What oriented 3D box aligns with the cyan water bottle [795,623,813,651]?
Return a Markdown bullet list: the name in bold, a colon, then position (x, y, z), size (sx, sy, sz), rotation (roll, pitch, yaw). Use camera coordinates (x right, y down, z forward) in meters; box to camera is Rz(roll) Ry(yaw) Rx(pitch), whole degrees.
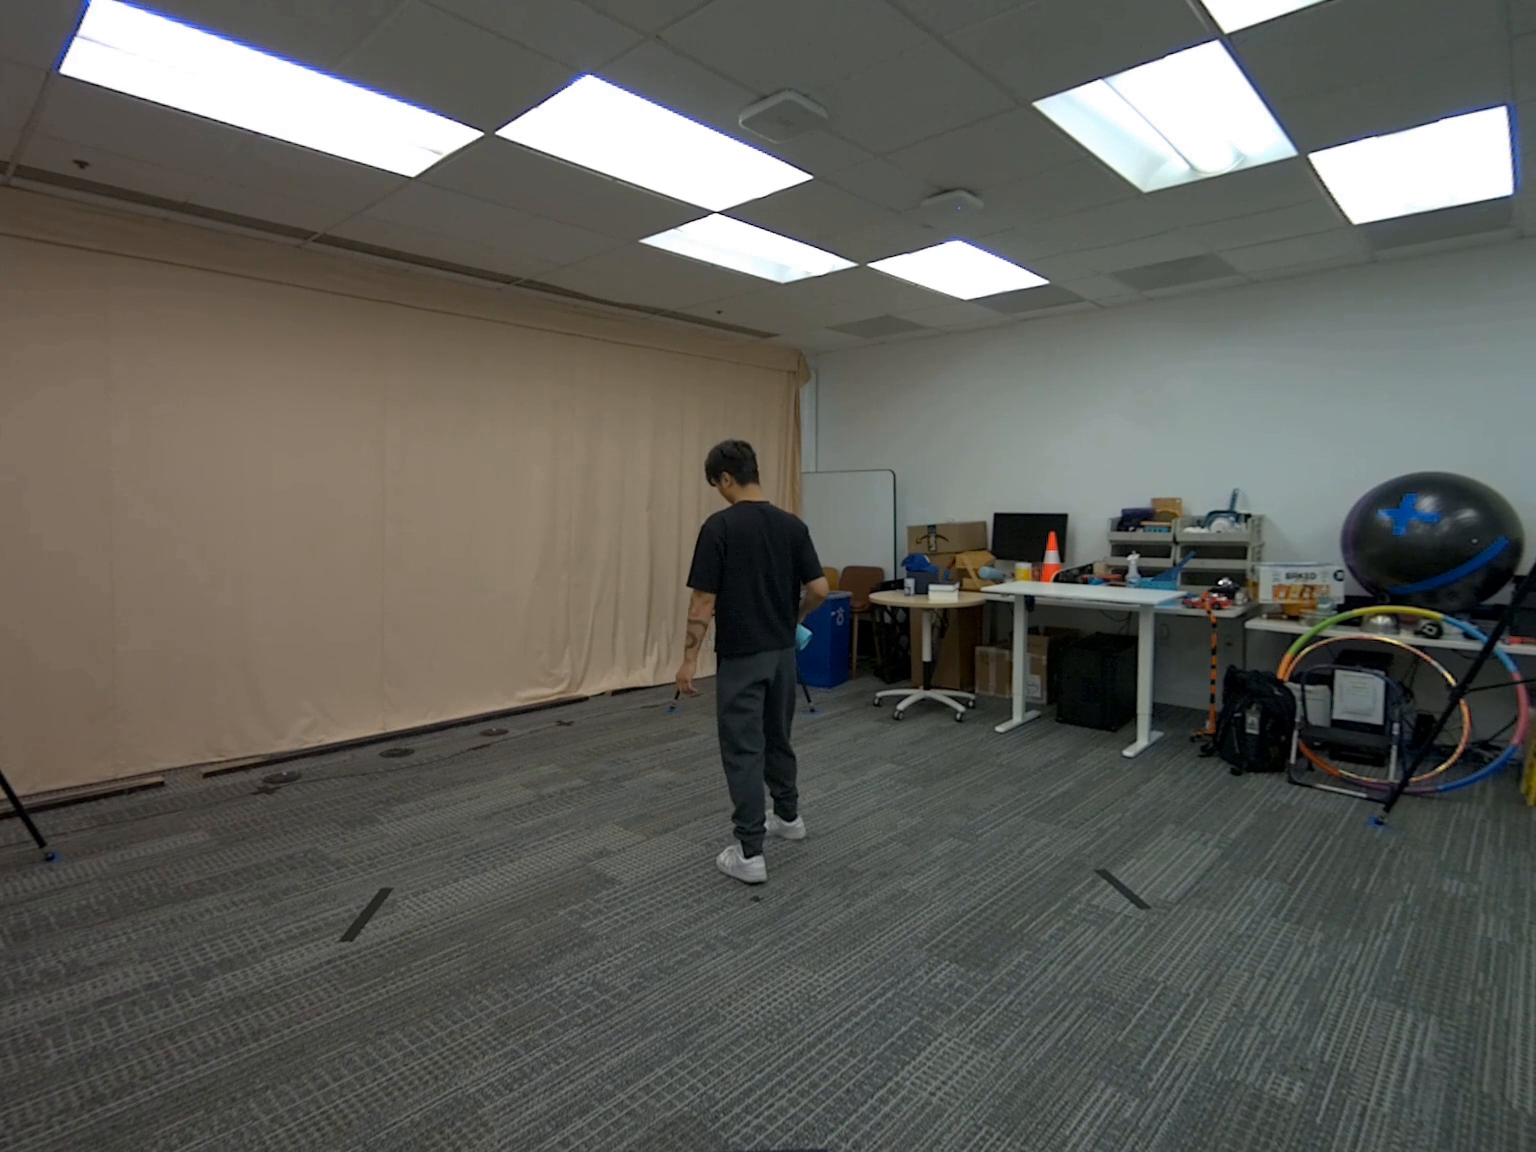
- **cyan water bottle**: position (0.045, 0.199, 3.535), size (0.290, 0.092, 0.090), rotation (35, 17, 20)
